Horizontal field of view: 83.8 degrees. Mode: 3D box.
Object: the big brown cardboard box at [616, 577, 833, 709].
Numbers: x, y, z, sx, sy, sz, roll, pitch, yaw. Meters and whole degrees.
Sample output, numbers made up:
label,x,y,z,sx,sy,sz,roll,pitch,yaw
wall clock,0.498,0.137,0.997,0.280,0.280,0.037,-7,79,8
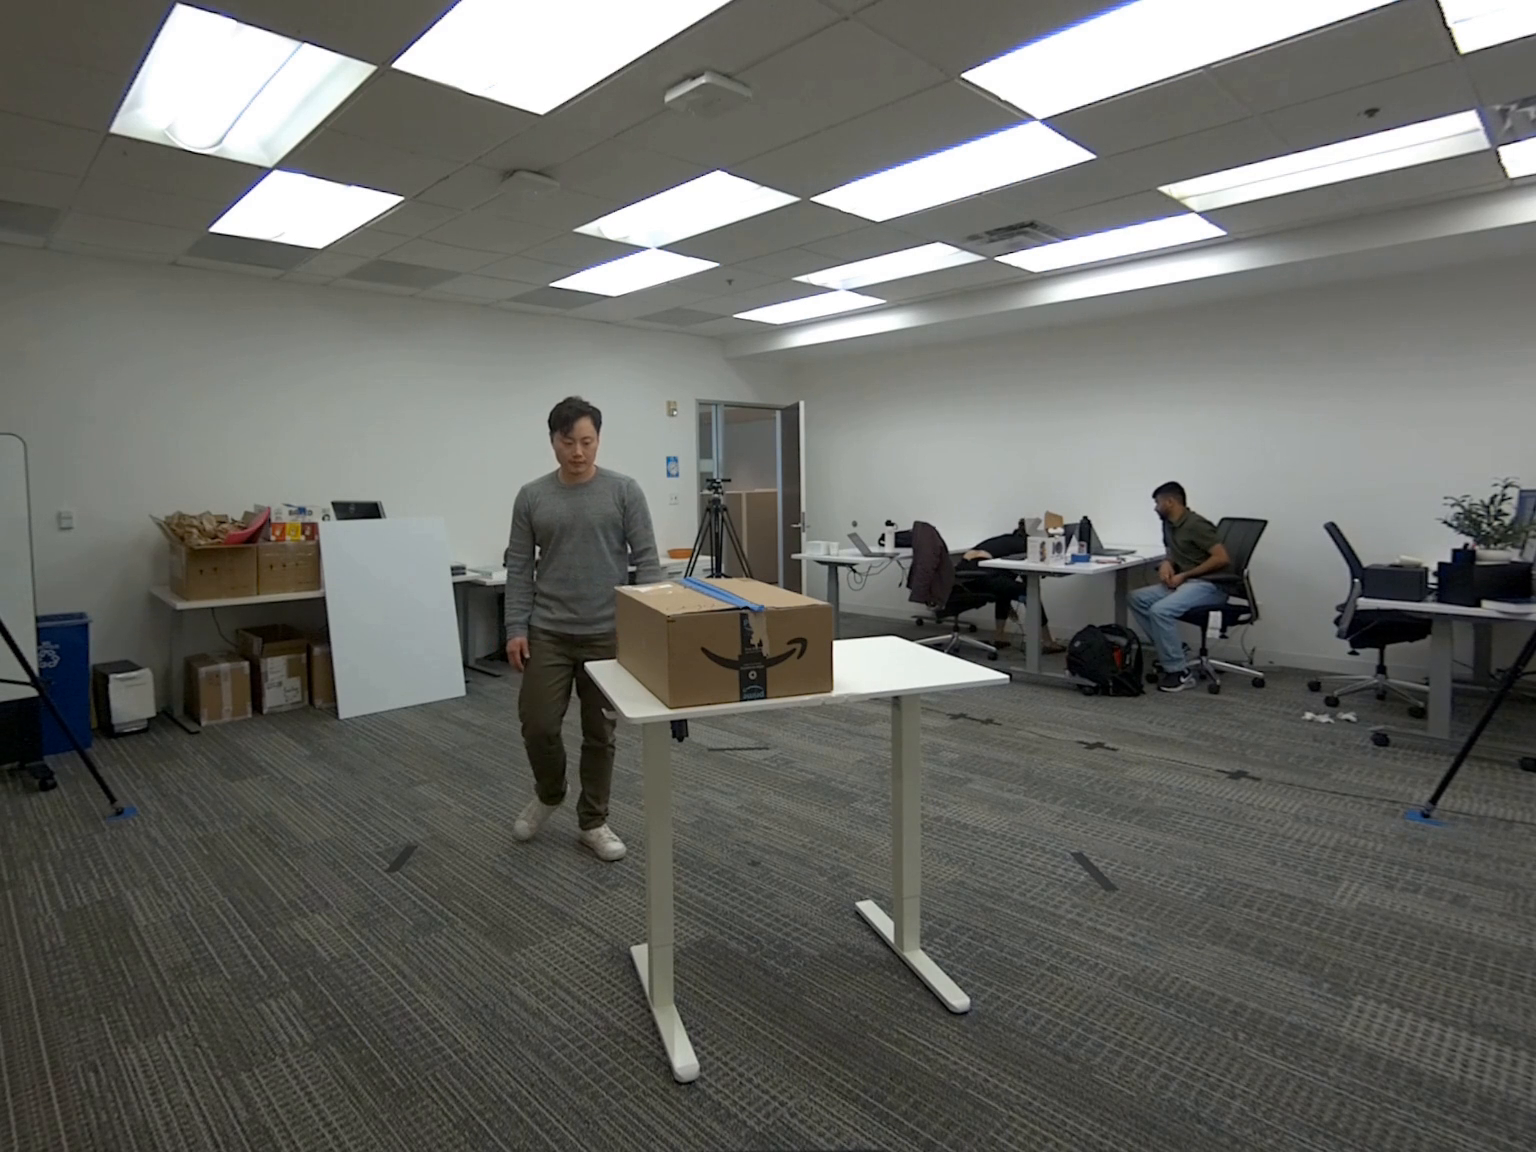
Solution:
label,x,y,z,sx,sy,sz,roll,pitch,yaw
big brown cardboard box,-0.136,0.154,2.261,0.410,0.232,0.603,-3,8,-22
